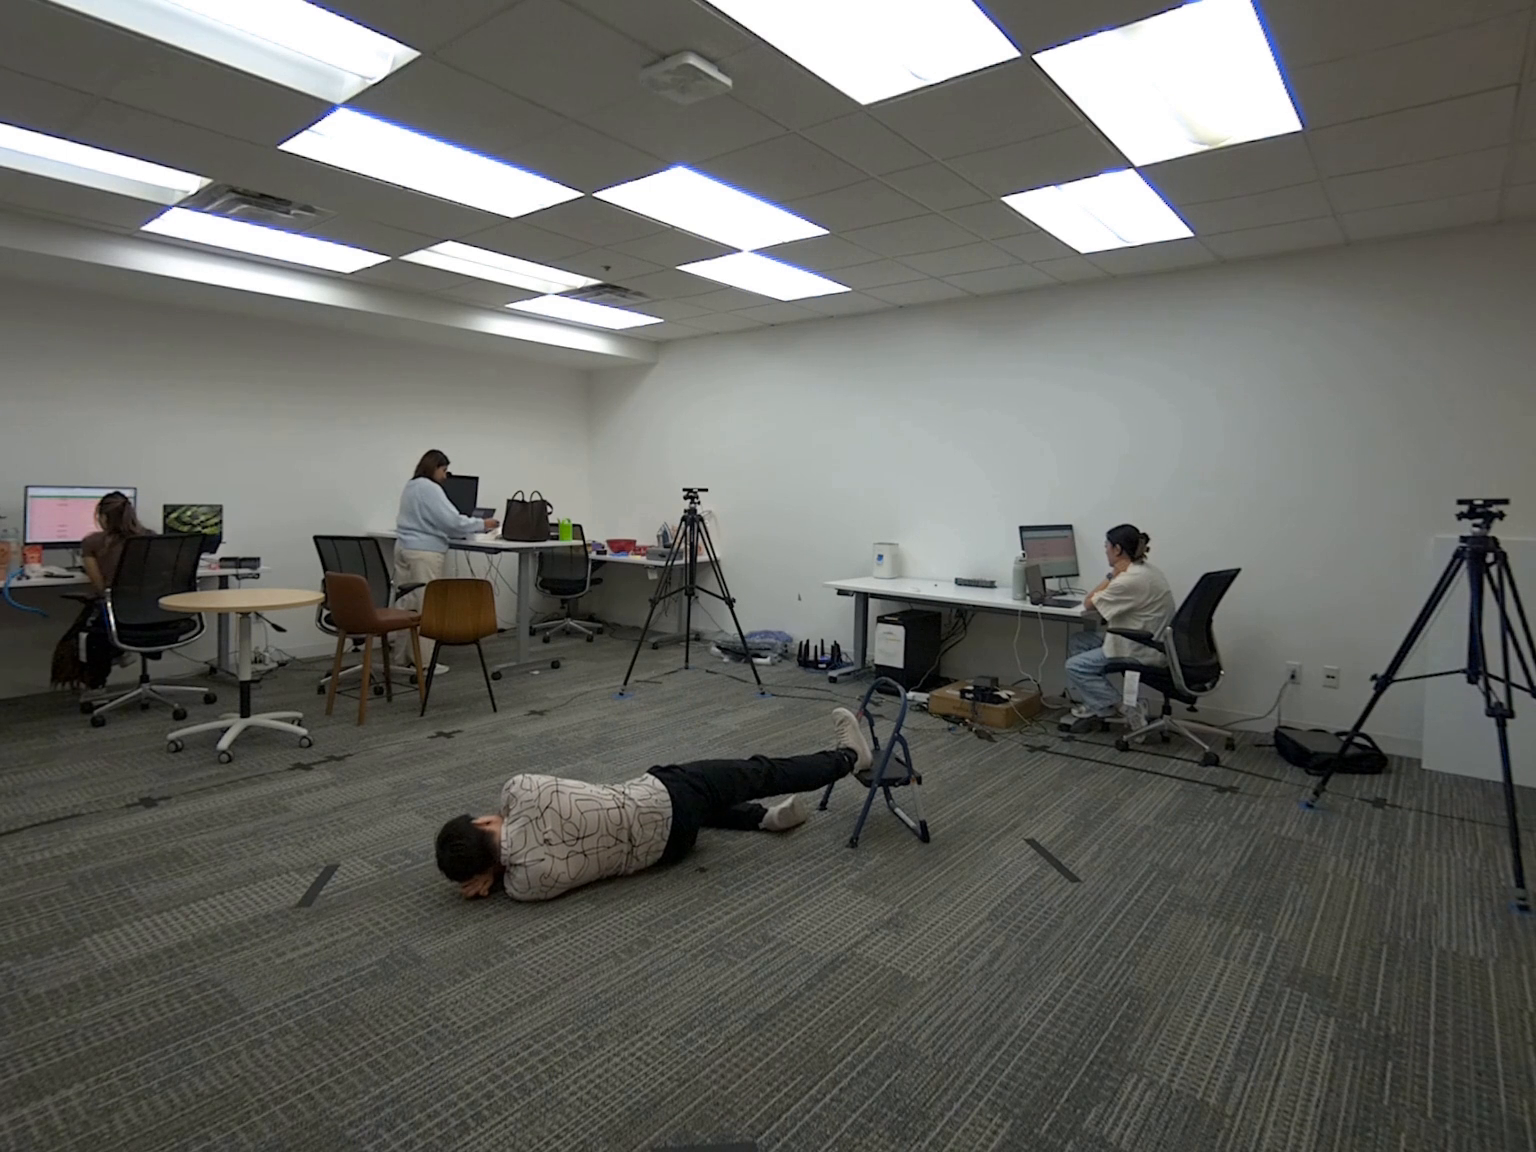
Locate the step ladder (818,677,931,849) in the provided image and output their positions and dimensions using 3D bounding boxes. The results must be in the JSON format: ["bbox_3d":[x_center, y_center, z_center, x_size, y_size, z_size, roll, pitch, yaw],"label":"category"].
[{"bbox_3d":[0.438,0.742,3.552,0.344,0.604,0.438,0,4,-14],"label":"step ladder"}]
